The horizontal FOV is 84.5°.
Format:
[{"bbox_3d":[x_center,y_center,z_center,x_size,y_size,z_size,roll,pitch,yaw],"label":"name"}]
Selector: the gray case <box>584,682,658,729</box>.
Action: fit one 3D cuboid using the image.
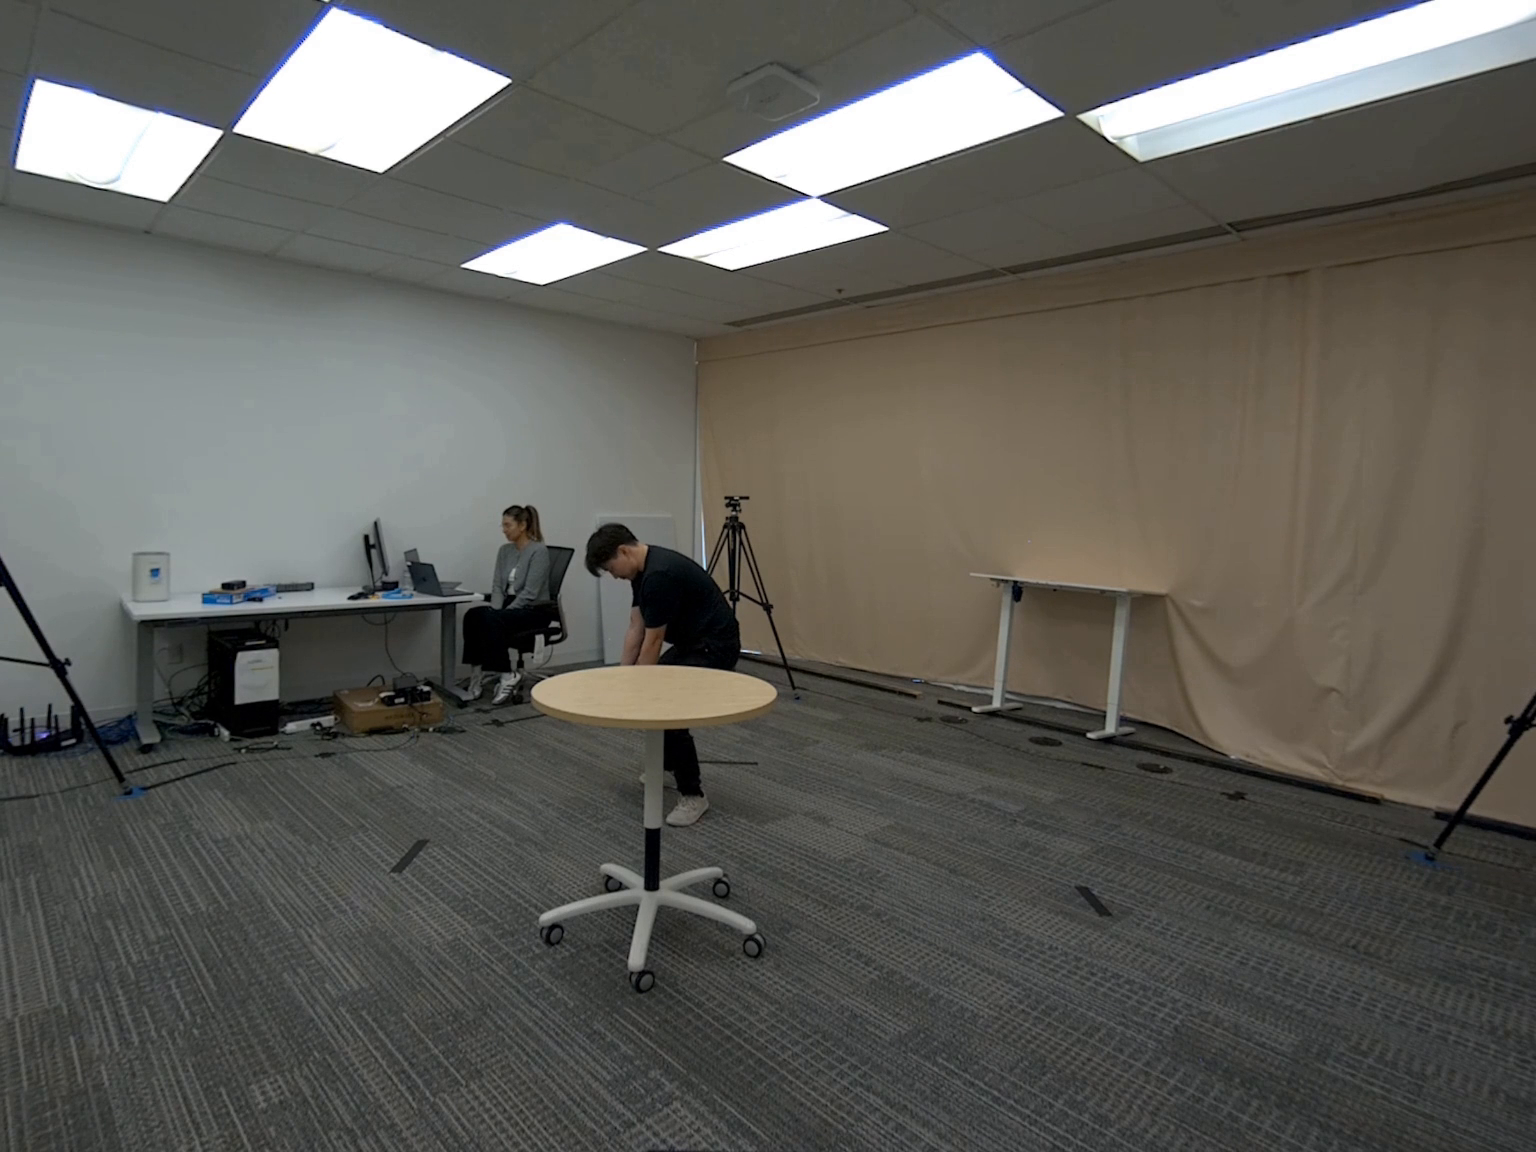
[{"bbox_3d":[-0.664,0.574,3.794,0.257,0.104,0.261,-9,6,-22],"label":"gray case"}]
